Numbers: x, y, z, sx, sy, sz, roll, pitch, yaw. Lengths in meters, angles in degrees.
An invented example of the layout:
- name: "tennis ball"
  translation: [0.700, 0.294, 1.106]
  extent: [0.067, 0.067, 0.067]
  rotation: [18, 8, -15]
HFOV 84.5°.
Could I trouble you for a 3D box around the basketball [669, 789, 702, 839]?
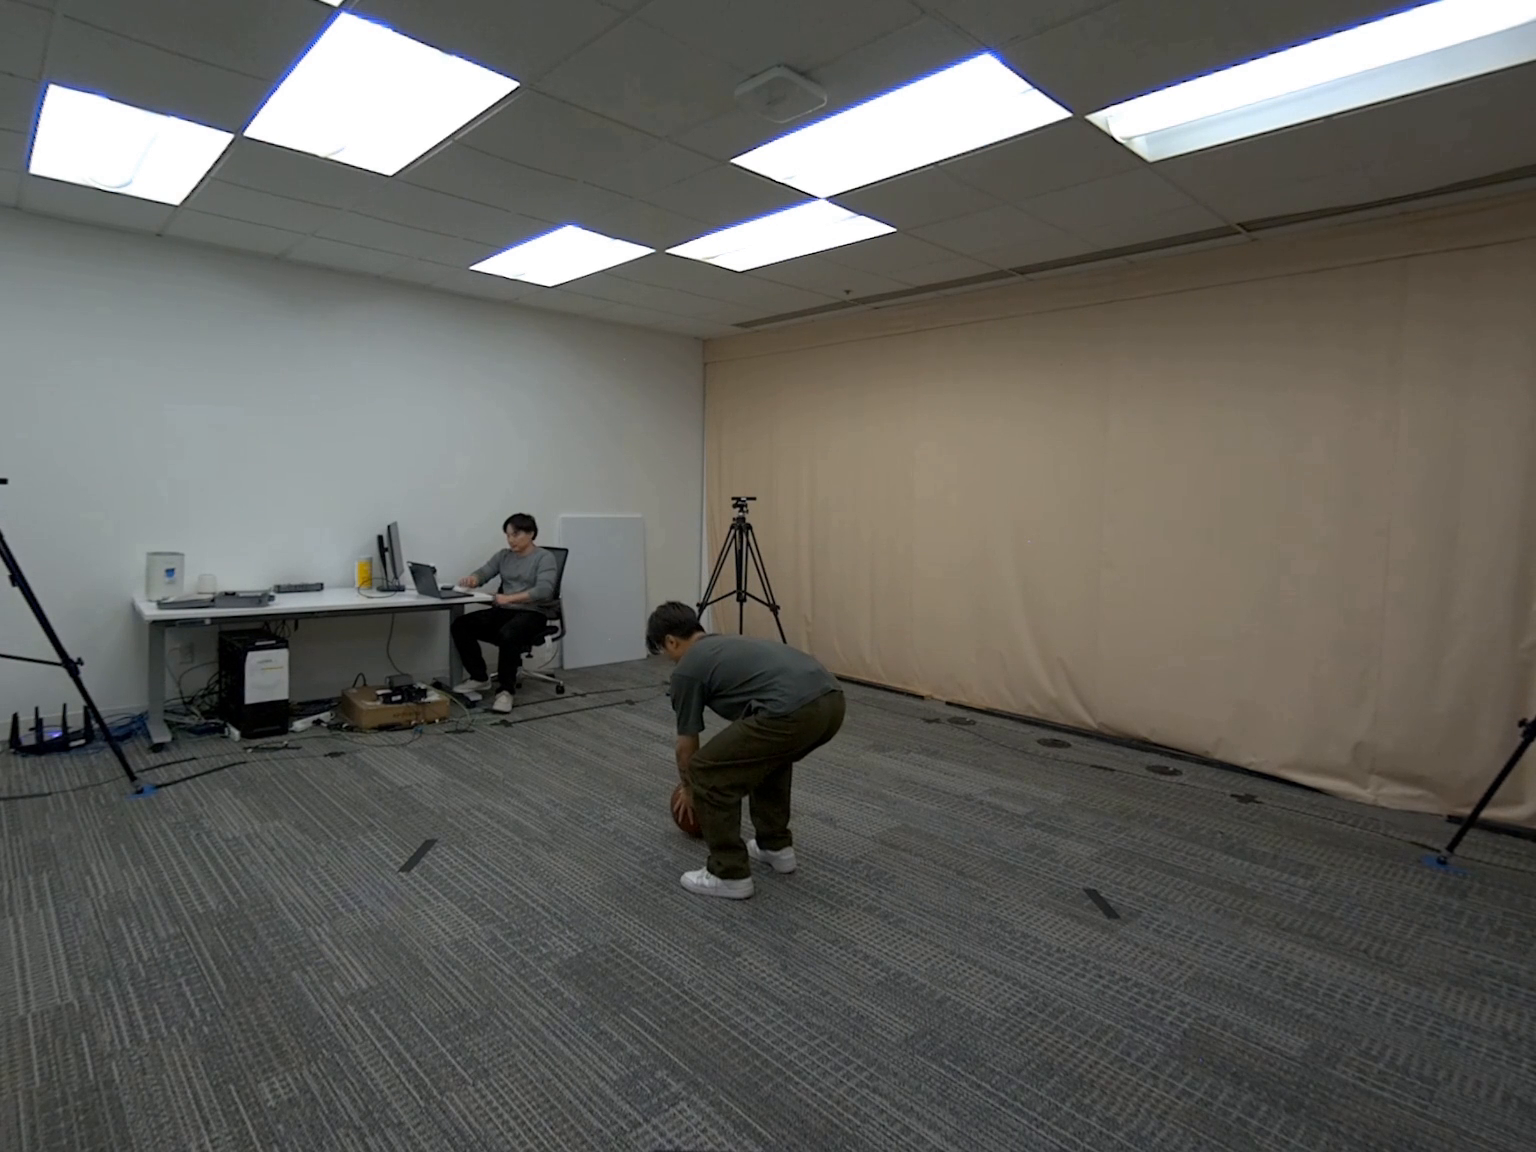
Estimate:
- name: "basketball"
  translation: [-0.294, 0.932, 3.464]
  extent: [0.236, 0.235, 0.237]
  rotation: [1, 4, -1]
